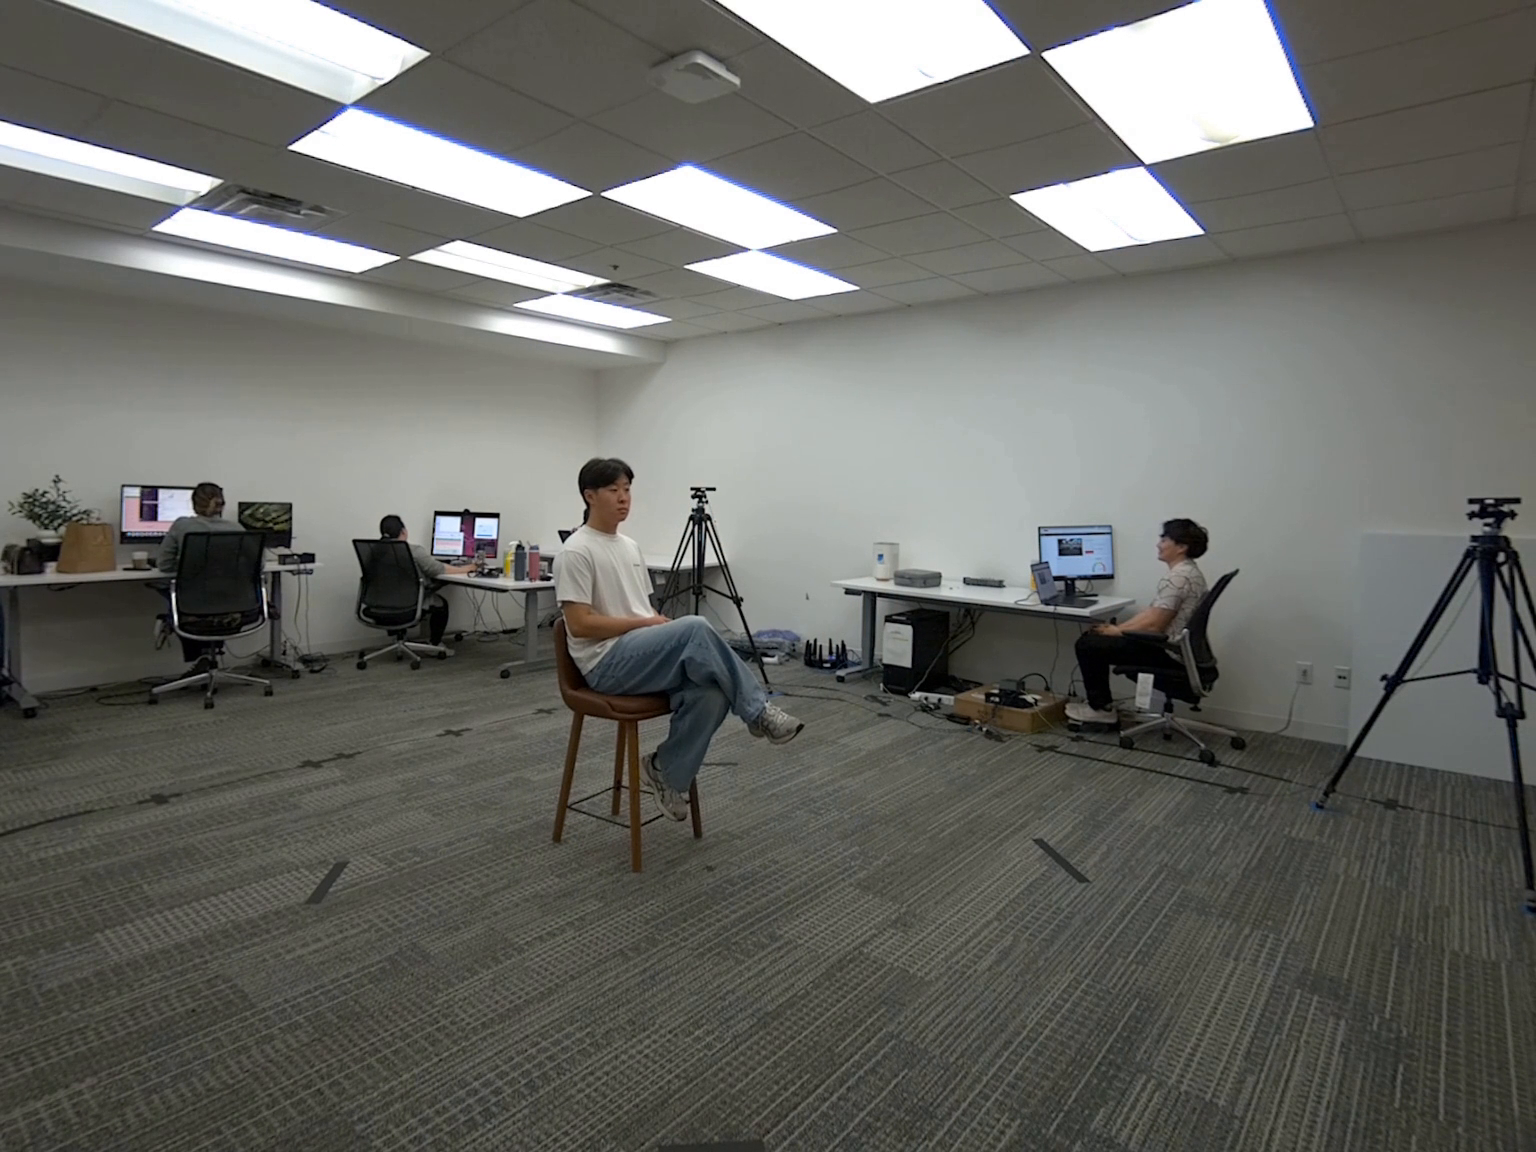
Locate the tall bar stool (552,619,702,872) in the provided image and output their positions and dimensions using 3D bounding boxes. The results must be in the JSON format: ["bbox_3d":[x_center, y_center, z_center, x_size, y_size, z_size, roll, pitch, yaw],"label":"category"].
[{"bbox_3d":[-0.571,0.604,3.343,0.481,0.889,0.443,0,1,33],"label":"tall bar stool"}]
